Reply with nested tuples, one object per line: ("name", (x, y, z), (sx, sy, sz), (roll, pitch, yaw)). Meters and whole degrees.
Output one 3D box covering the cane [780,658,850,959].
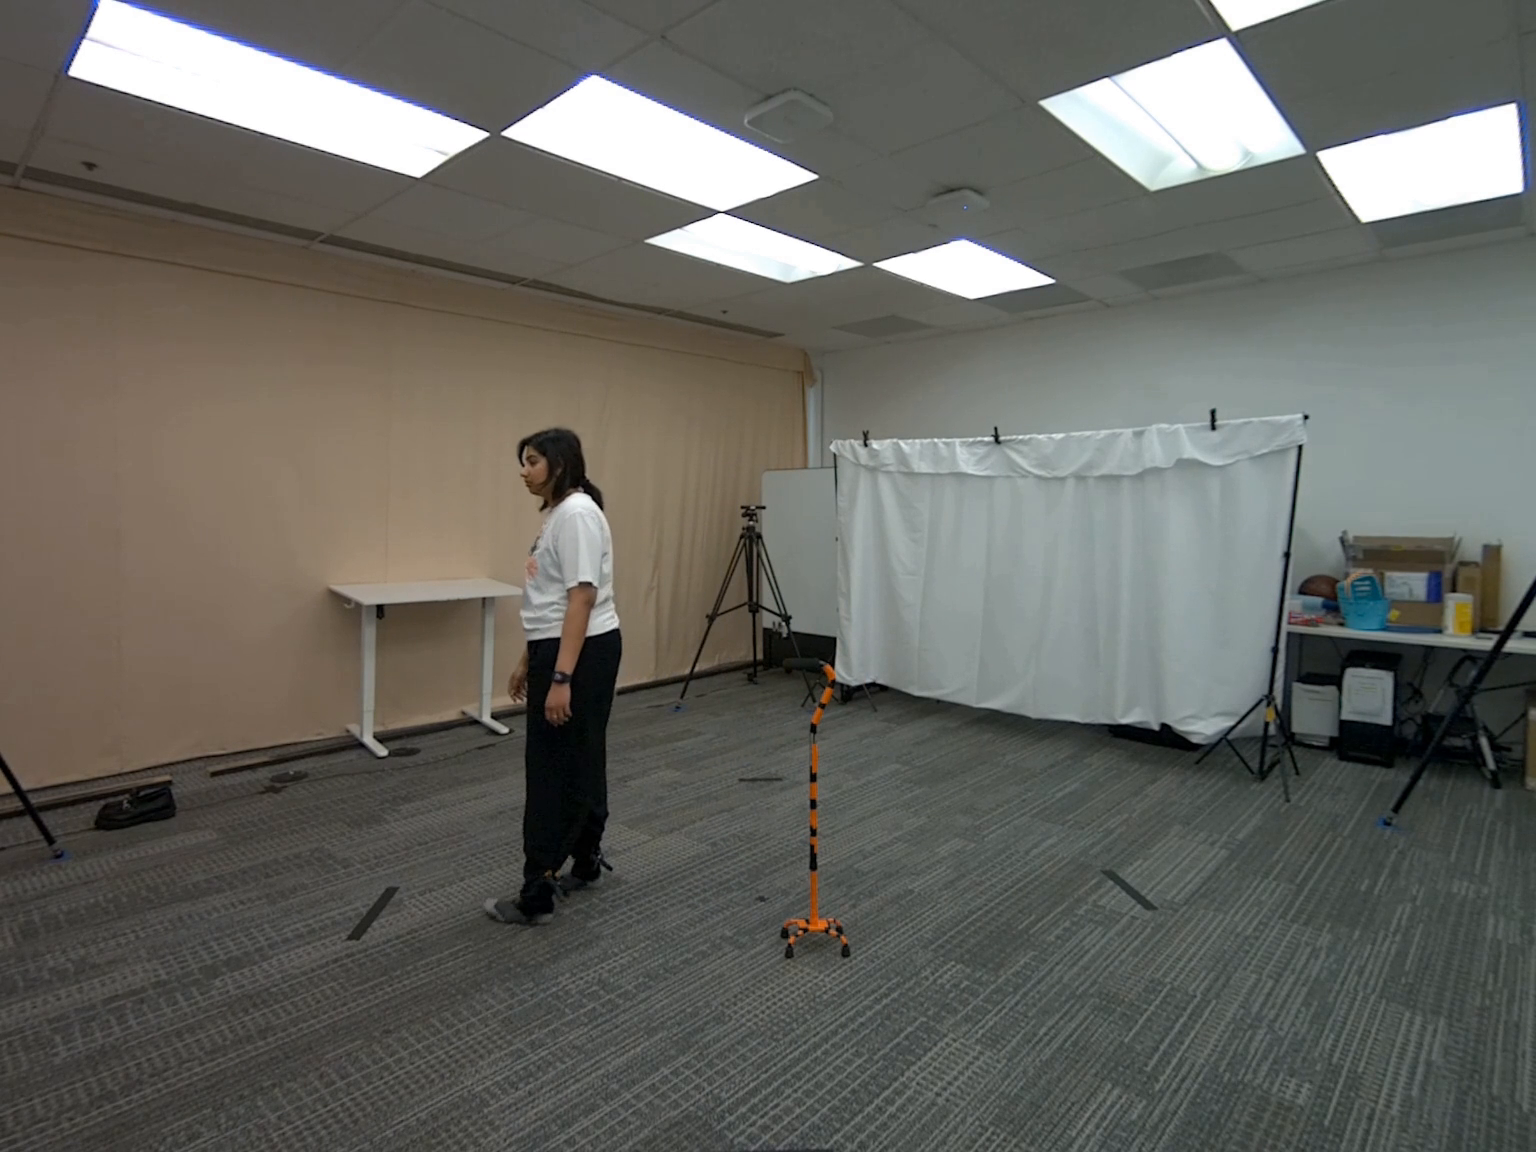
("cane", (0.152, 0.725, 2.644), (0.206, 0.907, 0.152), (0, 2, -2))
